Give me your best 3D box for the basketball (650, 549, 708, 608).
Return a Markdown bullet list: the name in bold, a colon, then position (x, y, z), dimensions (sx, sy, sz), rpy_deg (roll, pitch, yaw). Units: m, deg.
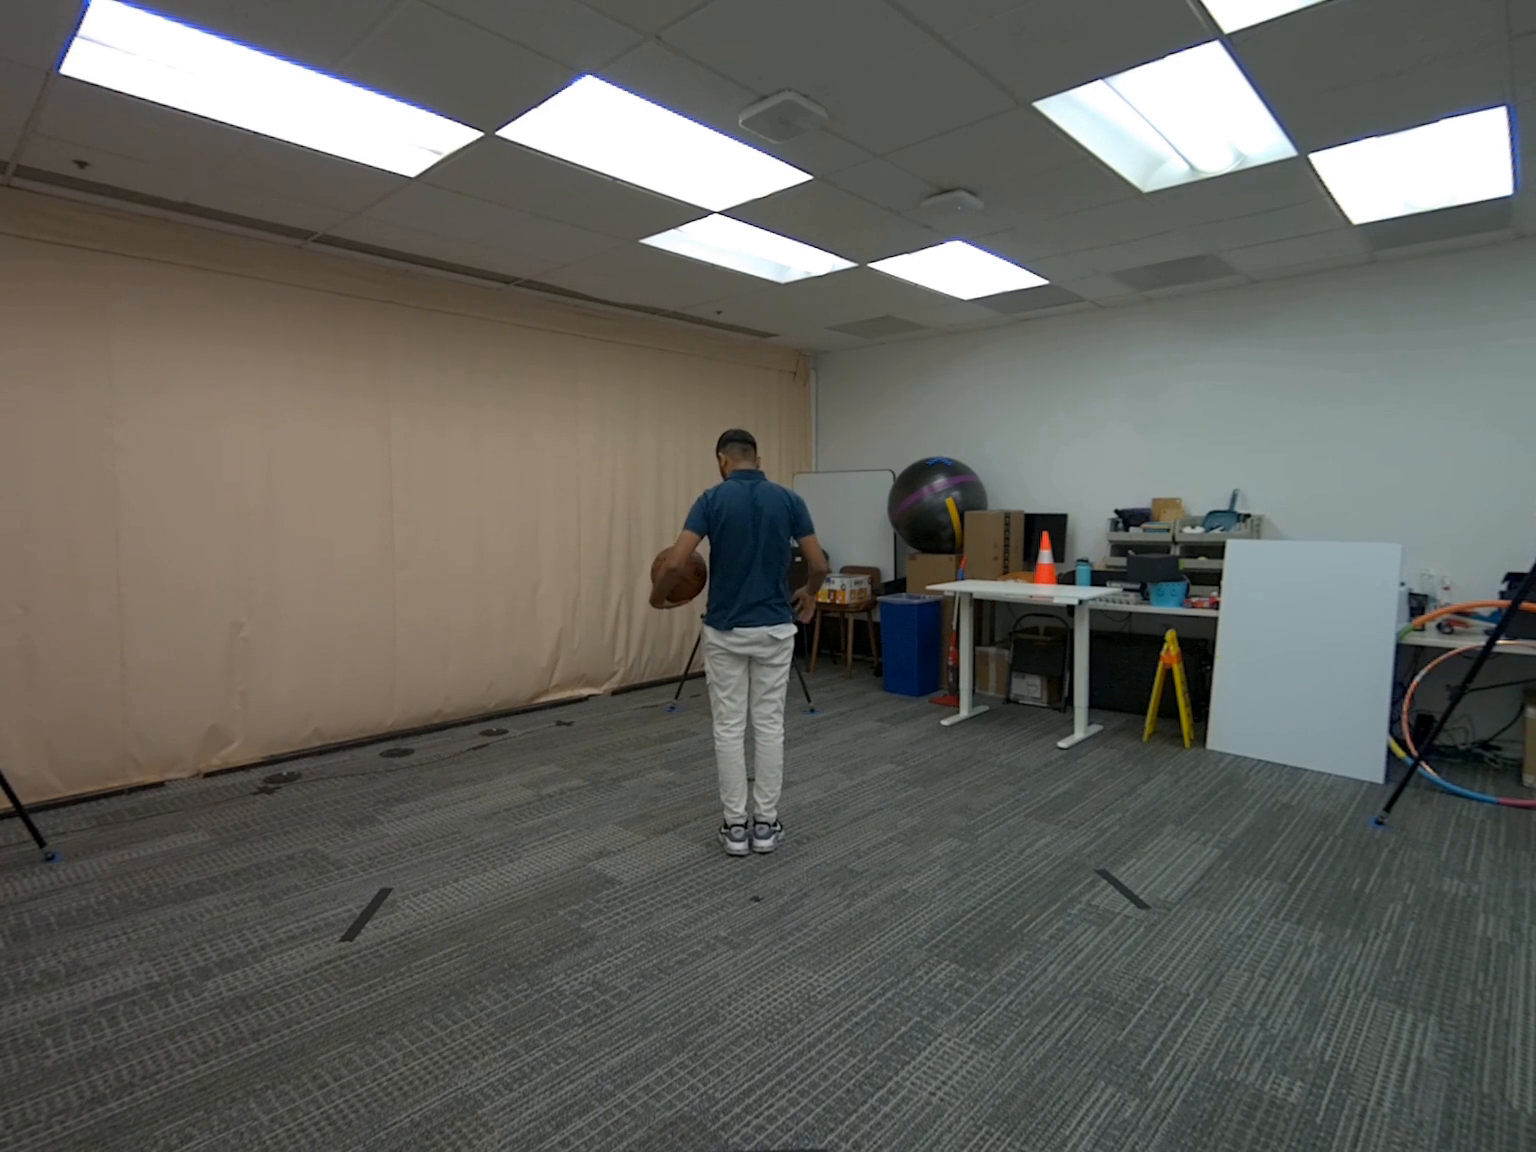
- **basketball**: position (-0.345, -0.013, 3.546), dimensions (0.236, 0.235, 0.237), rpy_deg (0, 4, -2)
